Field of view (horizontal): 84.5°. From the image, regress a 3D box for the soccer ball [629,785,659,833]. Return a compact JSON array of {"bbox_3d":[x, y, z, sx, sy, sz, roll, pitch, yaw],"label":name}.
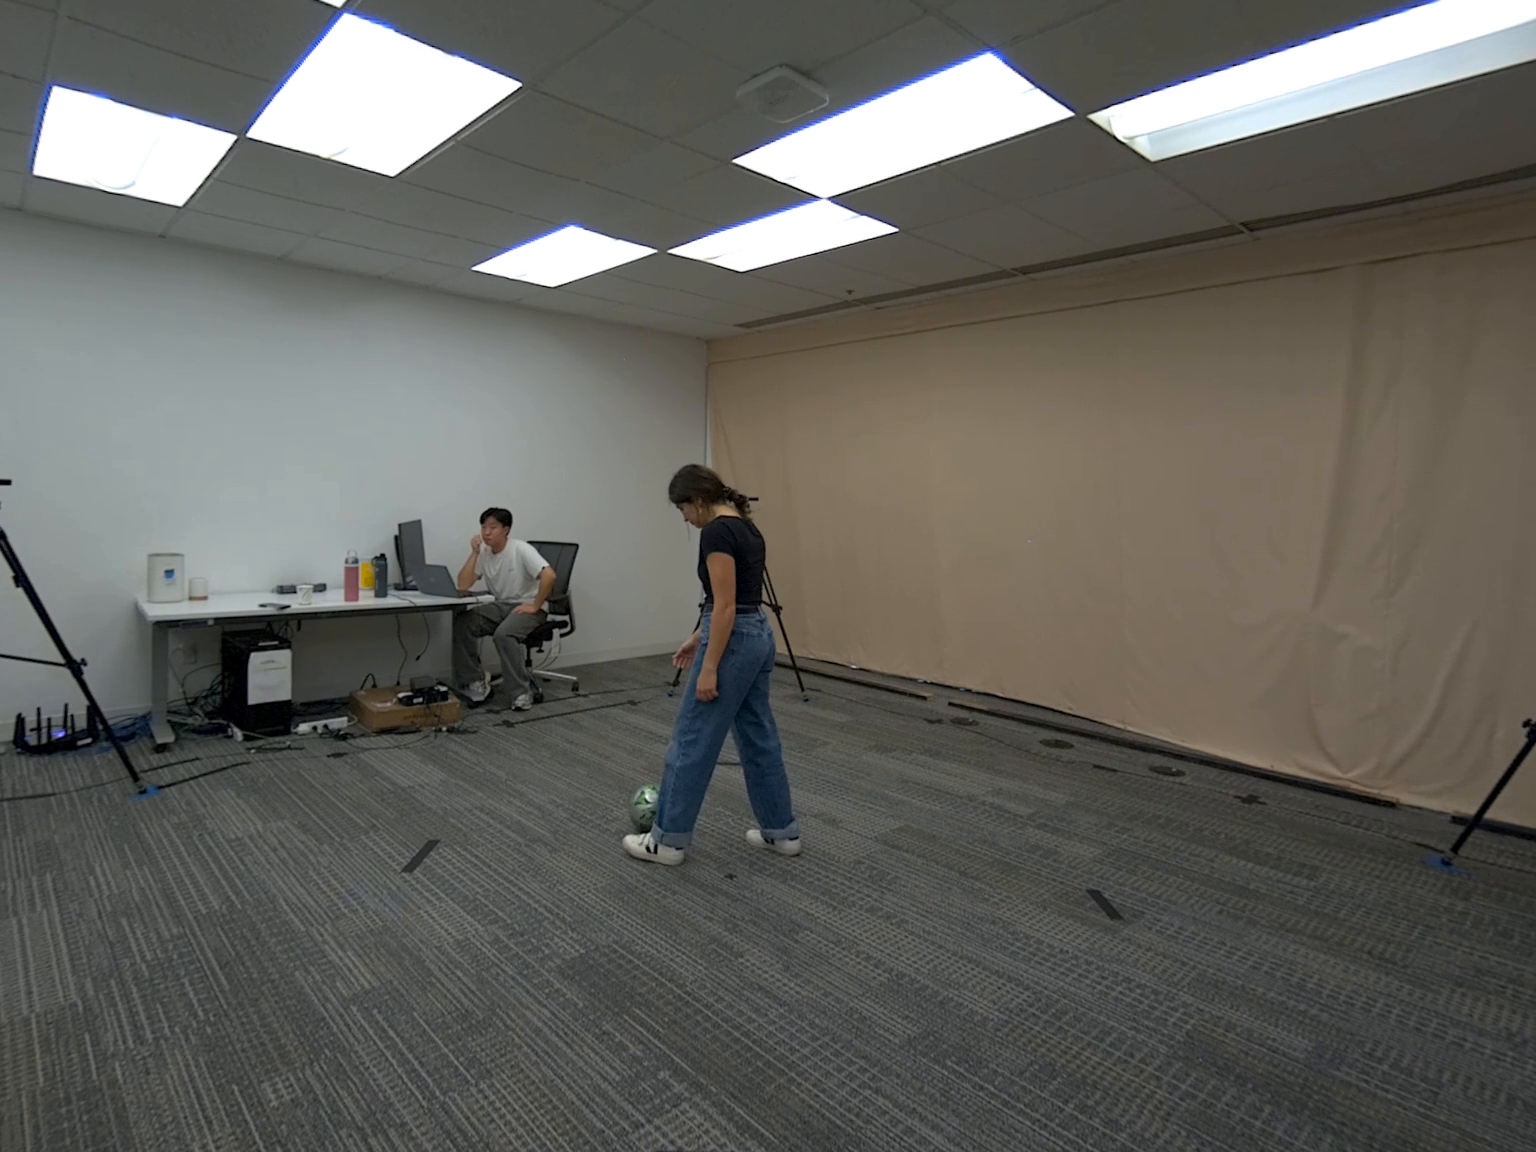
[{"bbox_3d":[-0.488,0.964,3.514,0.187,0.187,0.188,1,4,-1],"label":"soccer ball"}]
